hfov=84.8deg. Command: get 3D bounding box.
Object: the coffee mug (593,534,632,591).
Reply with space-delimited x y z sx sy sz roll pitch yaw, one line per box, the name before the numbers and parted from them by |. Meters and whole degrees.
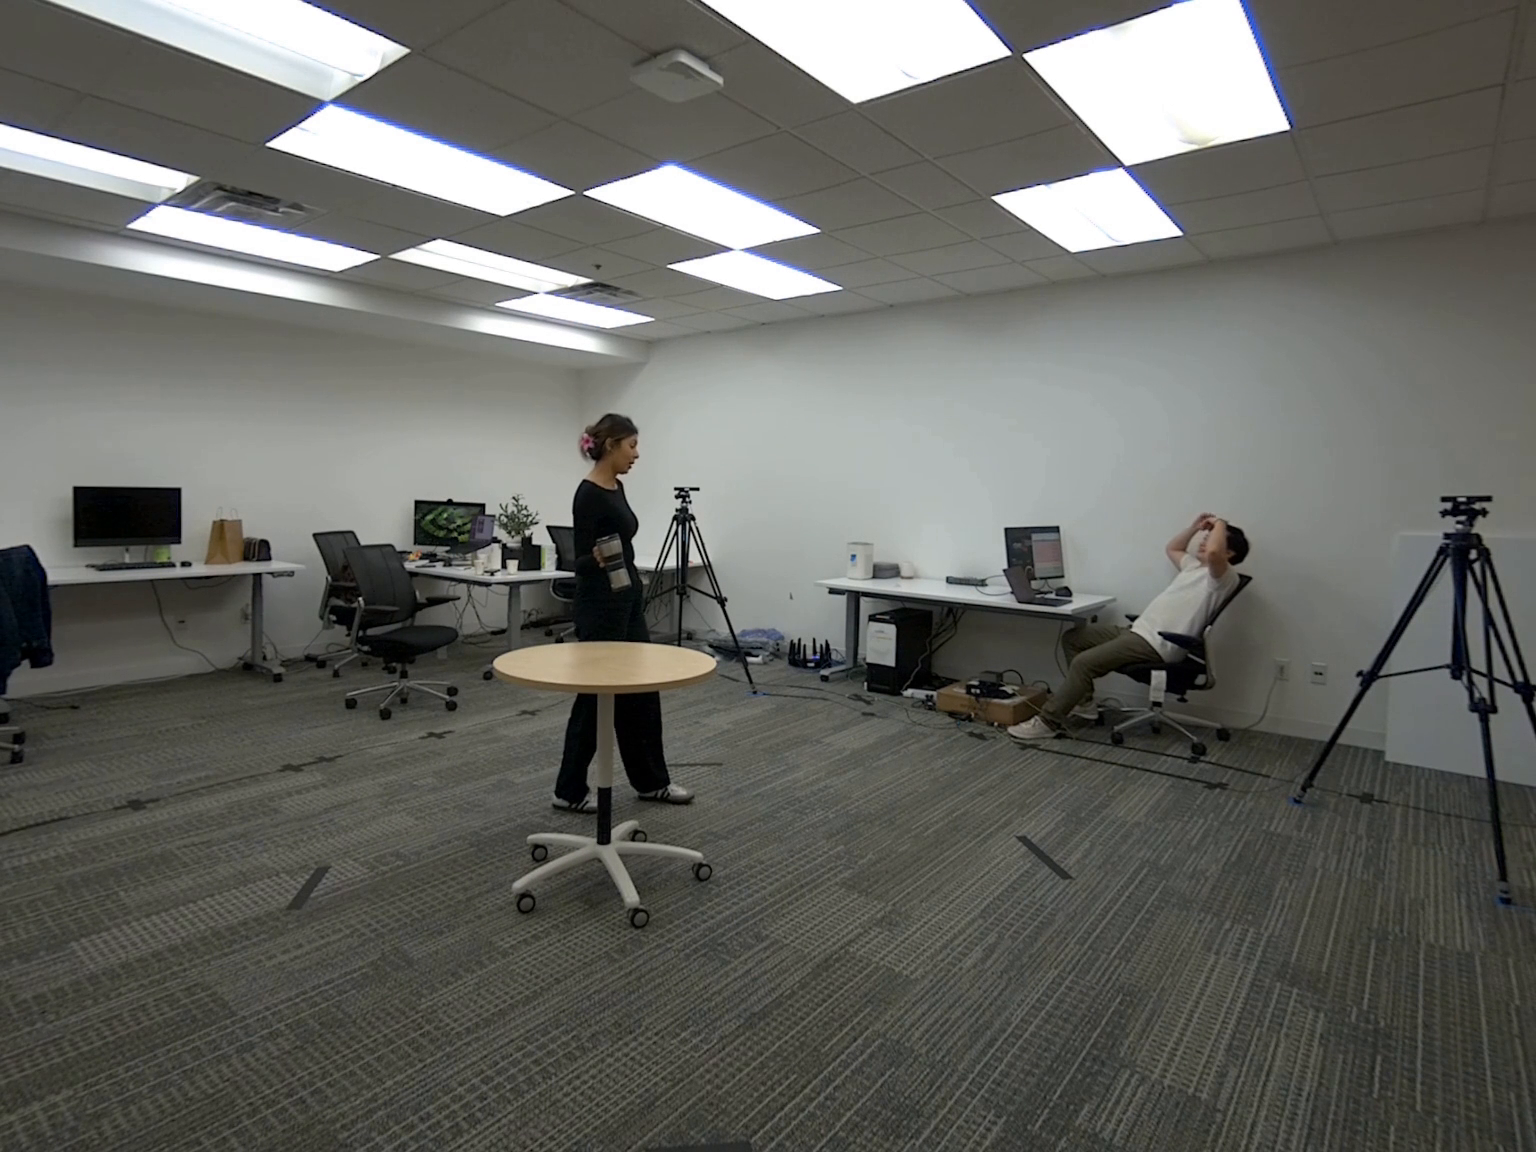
coffee mug | -0.574 -0.053 3.144 0.089 0.203 0.120 -16 2 18
